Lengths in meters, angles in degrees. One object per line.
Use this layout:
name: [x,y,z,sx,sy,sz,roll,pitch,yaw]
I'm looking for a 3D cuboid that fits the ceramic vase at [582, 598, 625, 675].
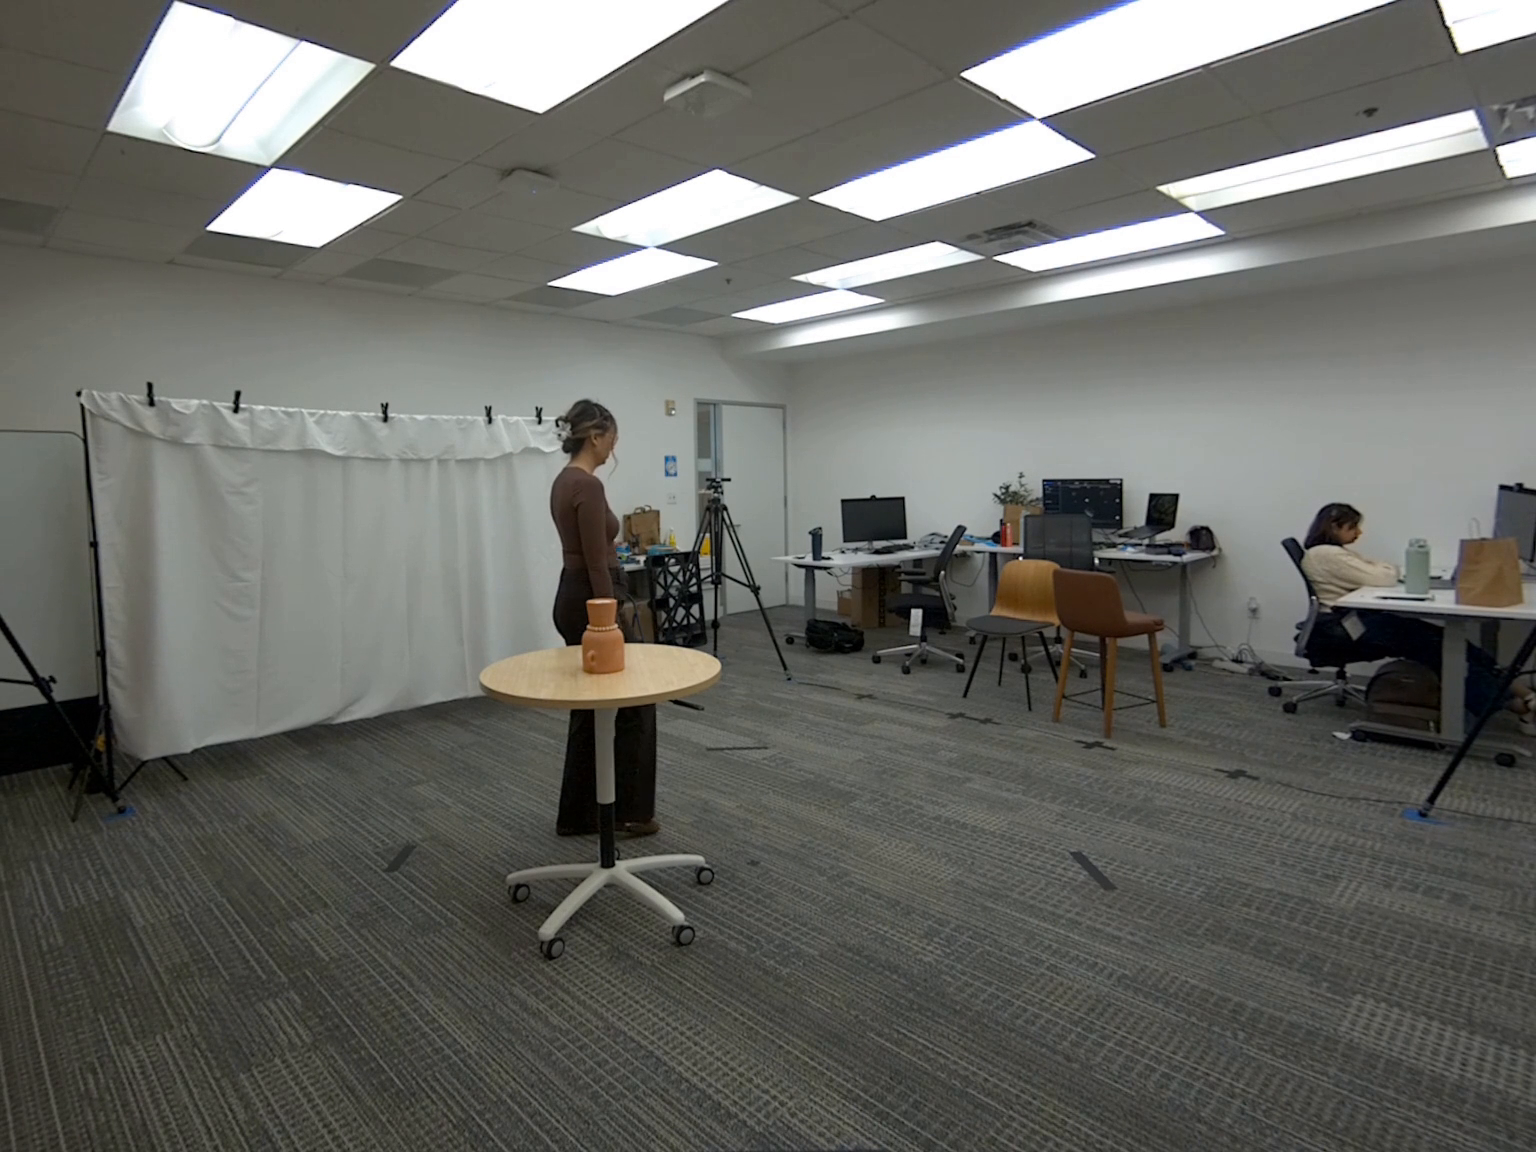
ceramic vase: [-0.523,0.189,2.723,0.132,0.219,0.162,-3,6,-20]
